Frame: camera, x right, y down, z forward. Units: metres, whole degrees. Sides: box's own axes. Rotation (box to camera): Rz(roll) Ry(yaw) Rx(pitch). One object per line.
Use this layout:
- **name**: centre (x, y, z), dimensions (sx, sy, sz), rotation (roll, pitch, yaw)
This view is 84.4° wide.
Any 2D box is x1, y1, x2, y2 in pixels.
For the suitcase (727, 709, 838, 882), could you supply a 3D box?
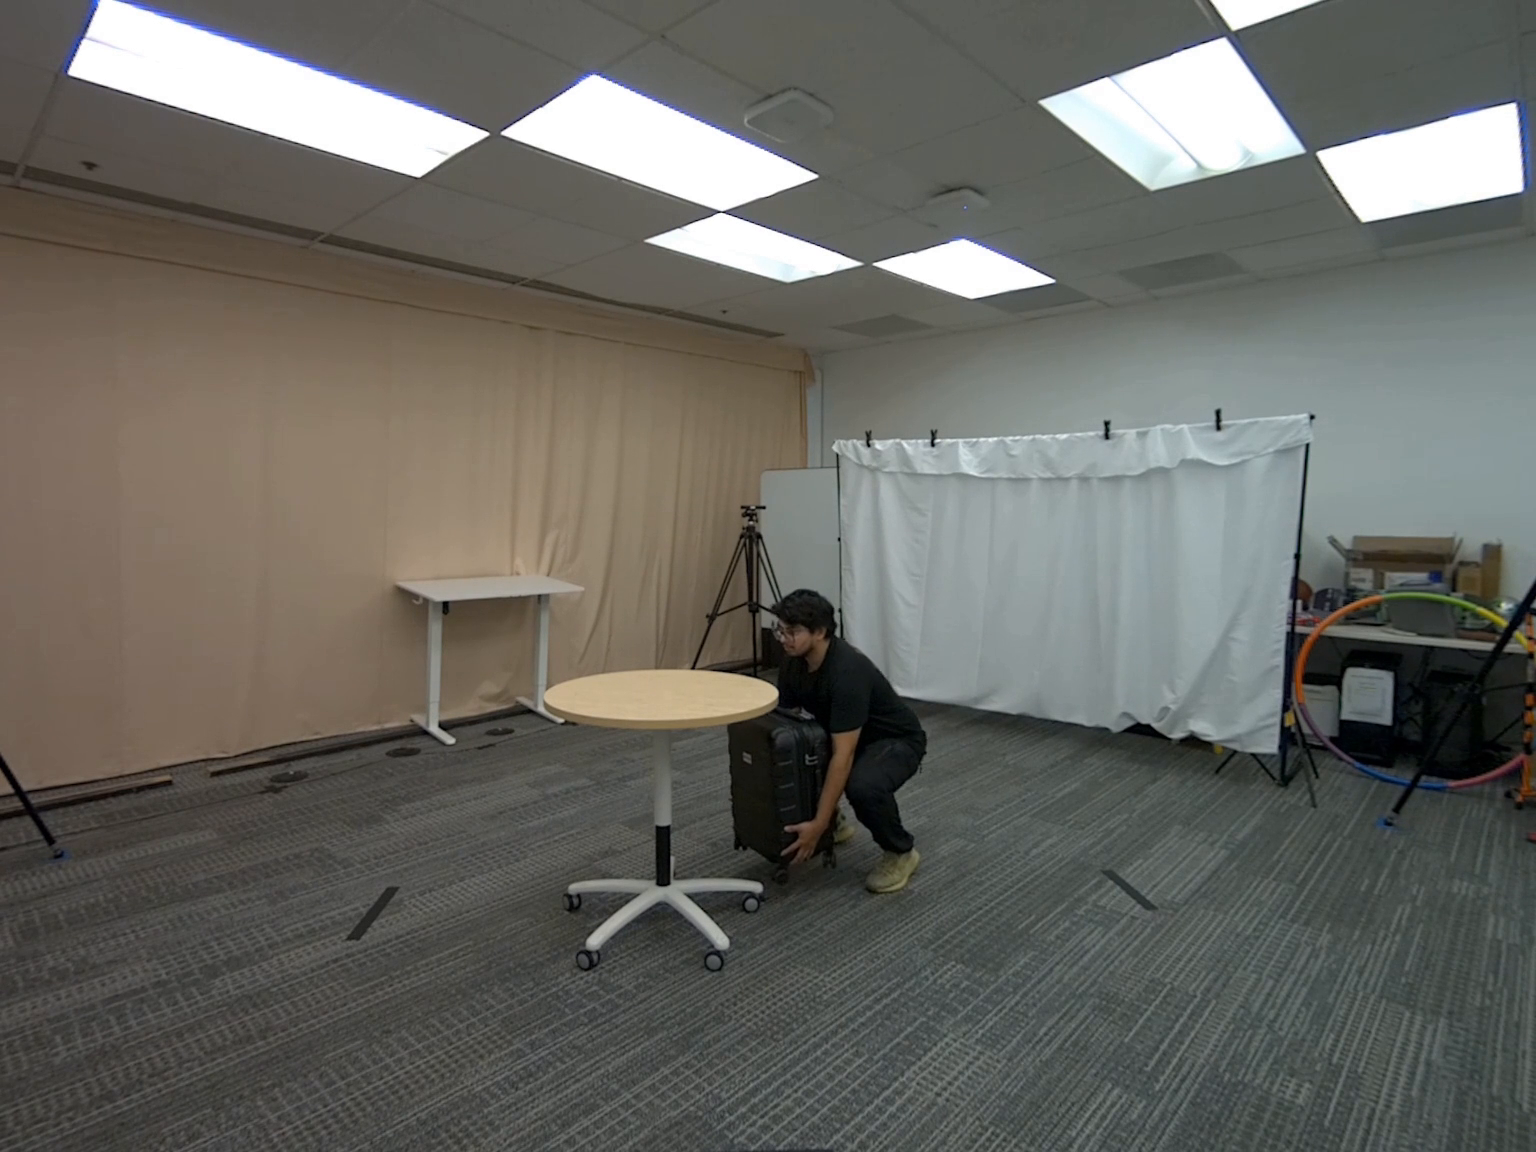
- **suitcase**: centre (0.044, 0.770, 3.095), dimensions (0.242, 0.547, 0.386), rotation (-7, 6, -28)
